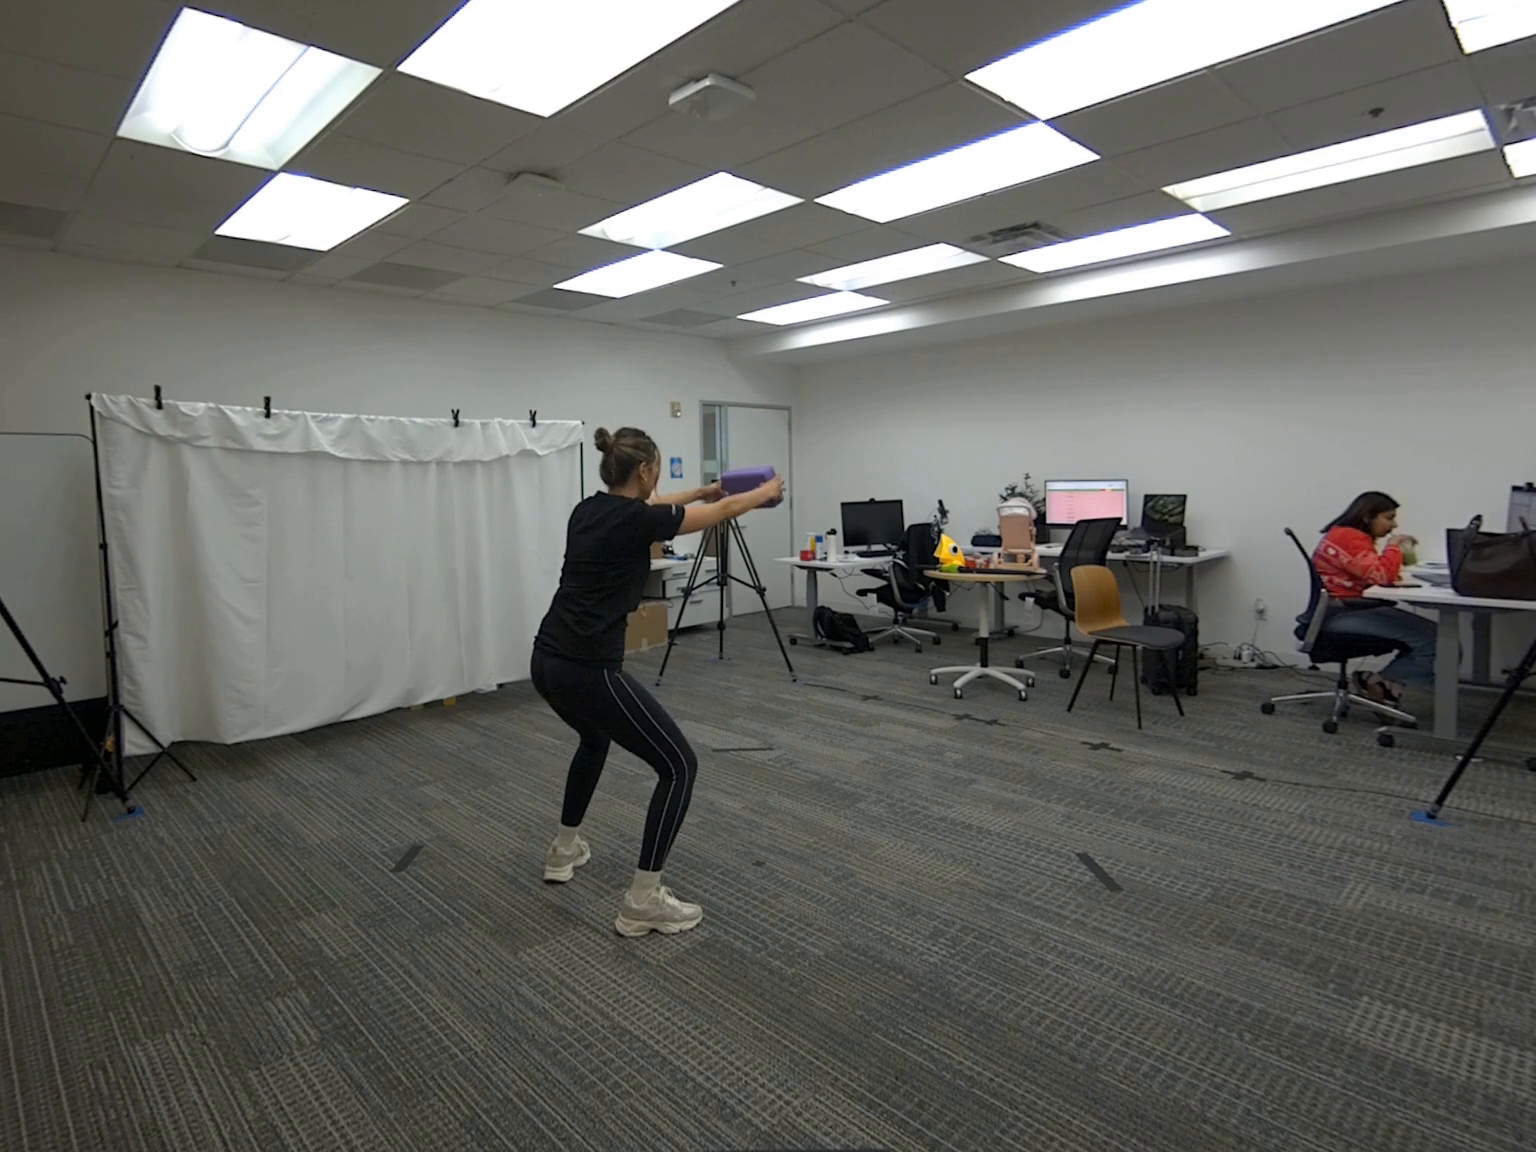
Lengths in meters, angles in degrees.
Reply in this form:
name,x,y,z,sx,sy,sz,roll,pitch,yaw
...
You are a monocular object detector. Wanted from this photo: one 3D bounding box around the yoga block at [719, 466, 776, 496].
name,x,y,z,sx,sy,sz,roll,pitch,yaw
yoga block,-0.067,-0.333,3.286,0.236,0.146,0.076,0,27,43
